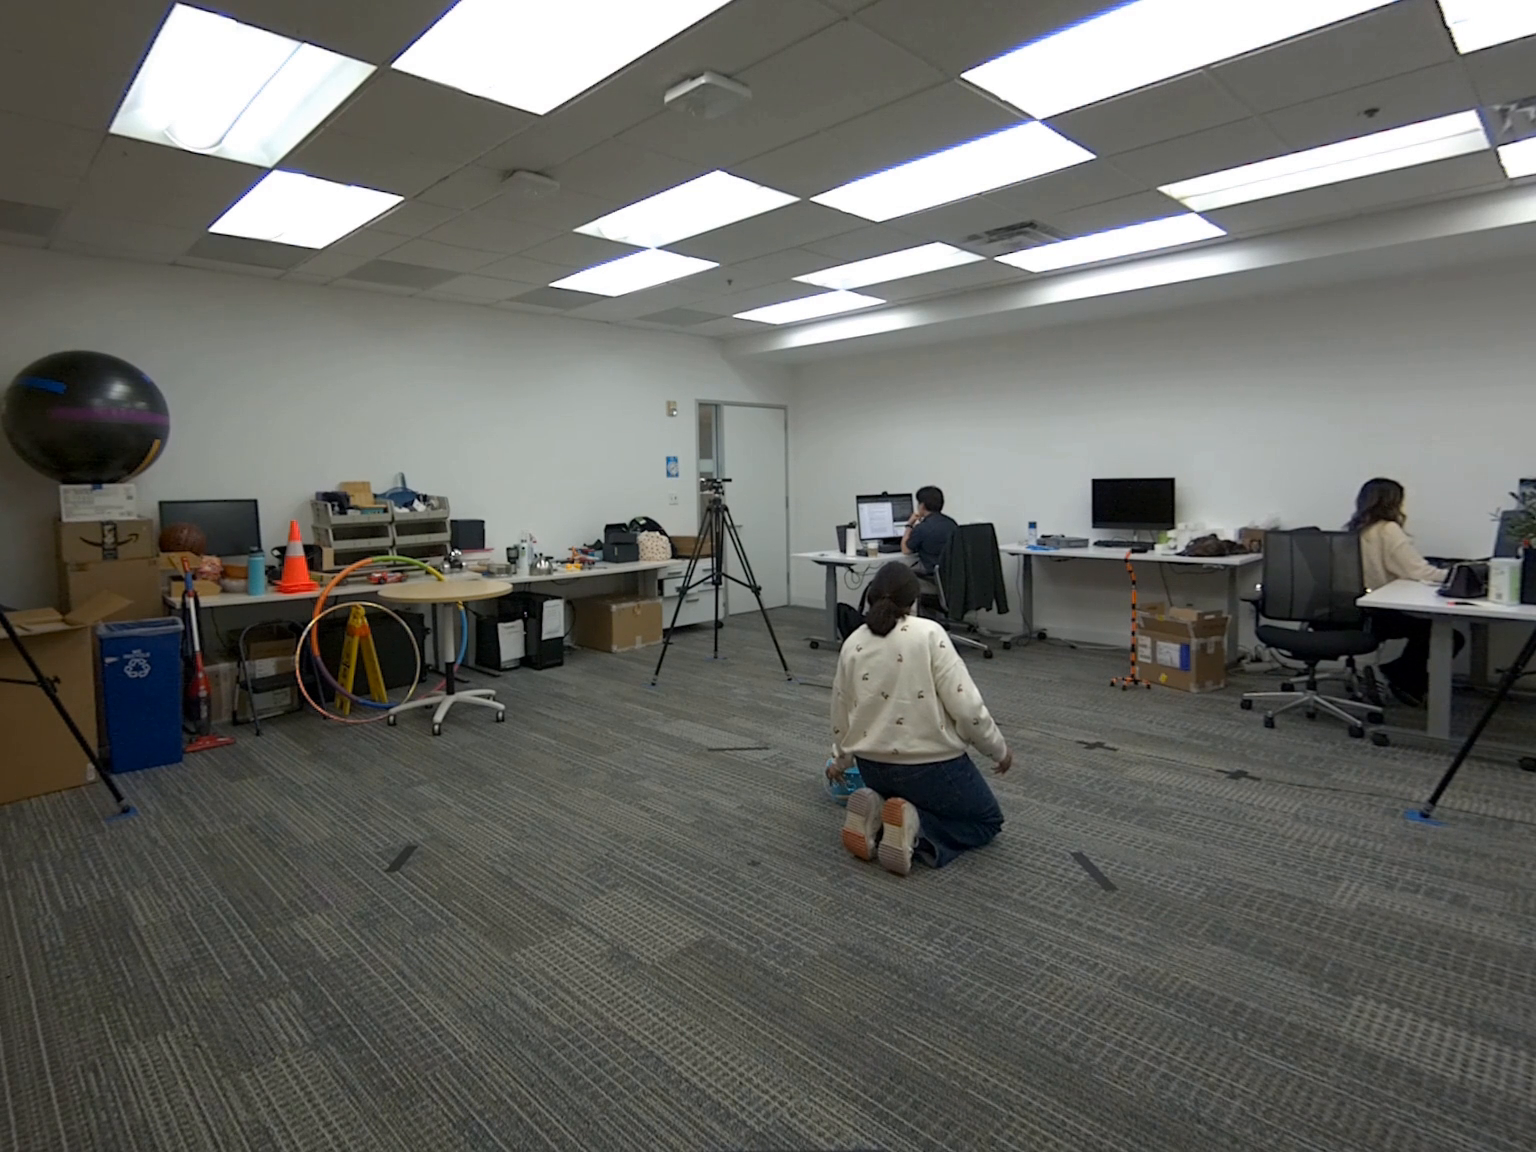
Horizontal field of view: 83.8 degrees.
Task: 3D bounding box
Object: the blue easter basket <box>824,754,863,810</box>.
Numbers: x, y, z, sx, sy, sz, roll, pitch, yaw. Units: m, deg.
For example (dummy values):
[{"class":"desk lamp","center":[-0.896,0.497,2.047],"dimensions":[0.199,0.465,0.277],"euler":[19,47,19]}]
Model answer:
[{"class":"blue easter basket","center":[0.381,0.889,3.718],"dimensions":[0.243,0.155,0.245],"euler":[0,5,-2]}]
